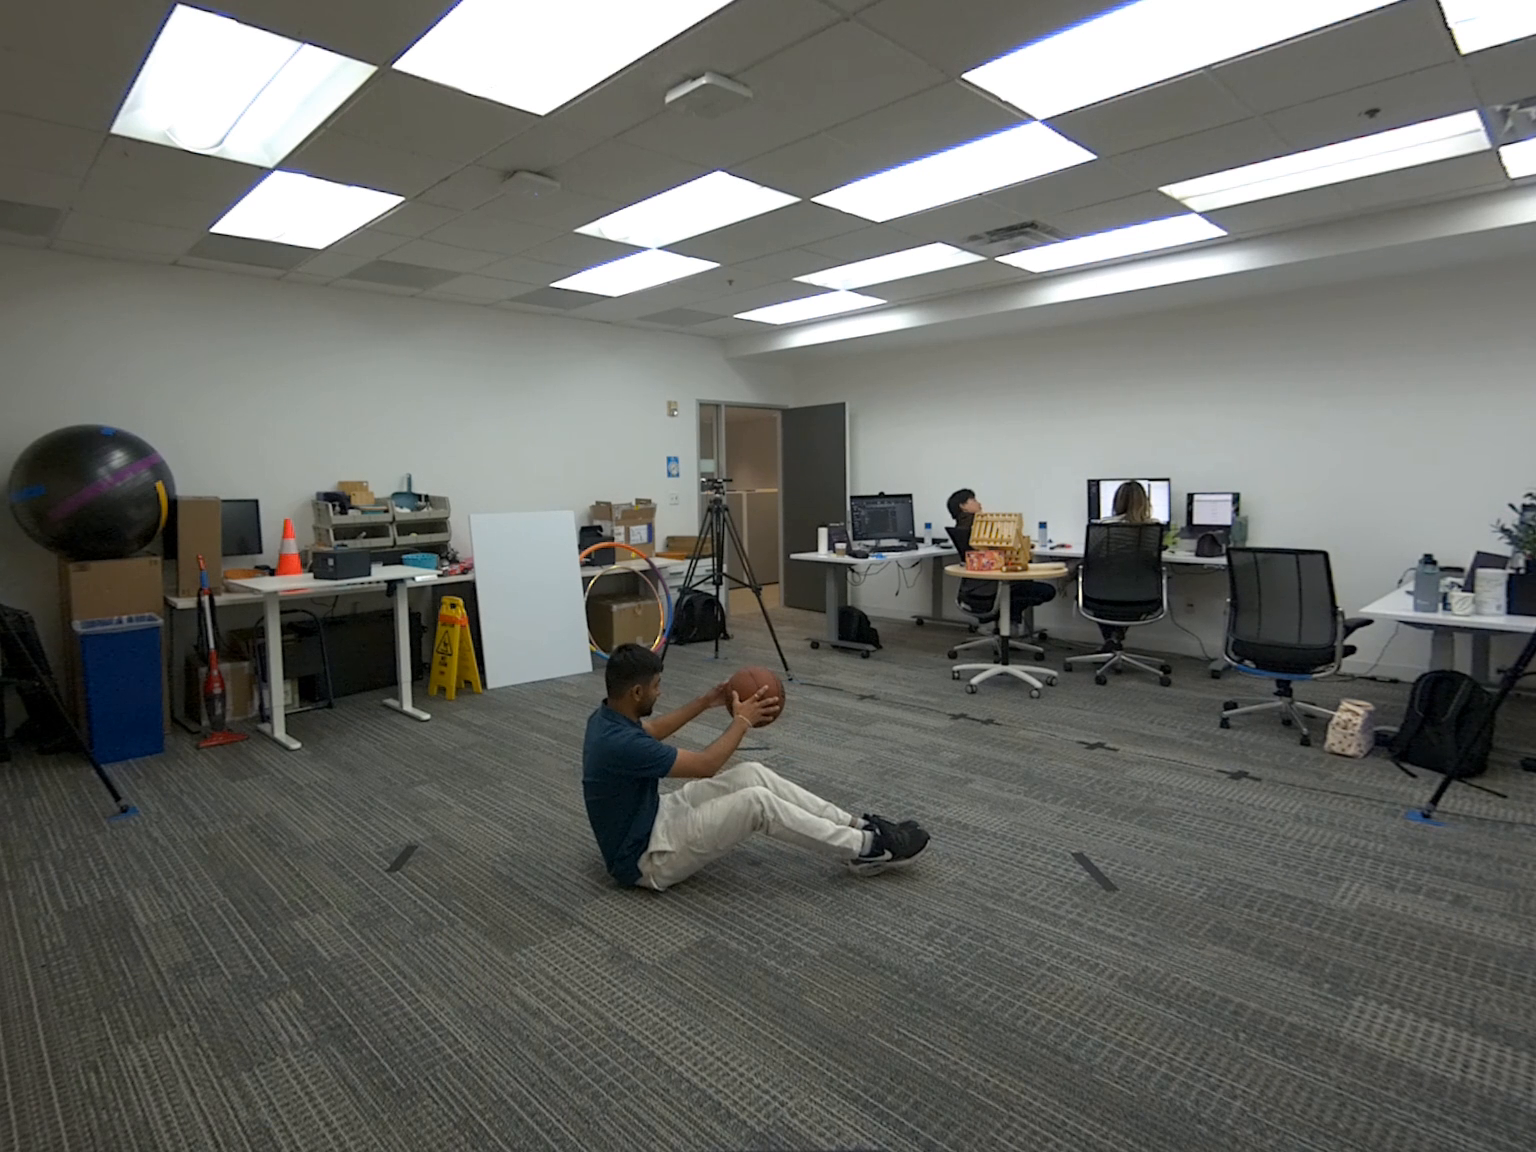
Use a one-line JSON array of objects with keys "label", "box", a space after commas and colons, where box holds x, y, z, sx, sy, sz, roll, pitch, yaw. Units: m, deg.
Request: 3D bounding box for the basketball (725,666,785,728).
[{"label": "basketball", "box": [-0.050, 0.489, 3.355, 0.236, 0.235, 0.237, -1, 5, -2]}]
